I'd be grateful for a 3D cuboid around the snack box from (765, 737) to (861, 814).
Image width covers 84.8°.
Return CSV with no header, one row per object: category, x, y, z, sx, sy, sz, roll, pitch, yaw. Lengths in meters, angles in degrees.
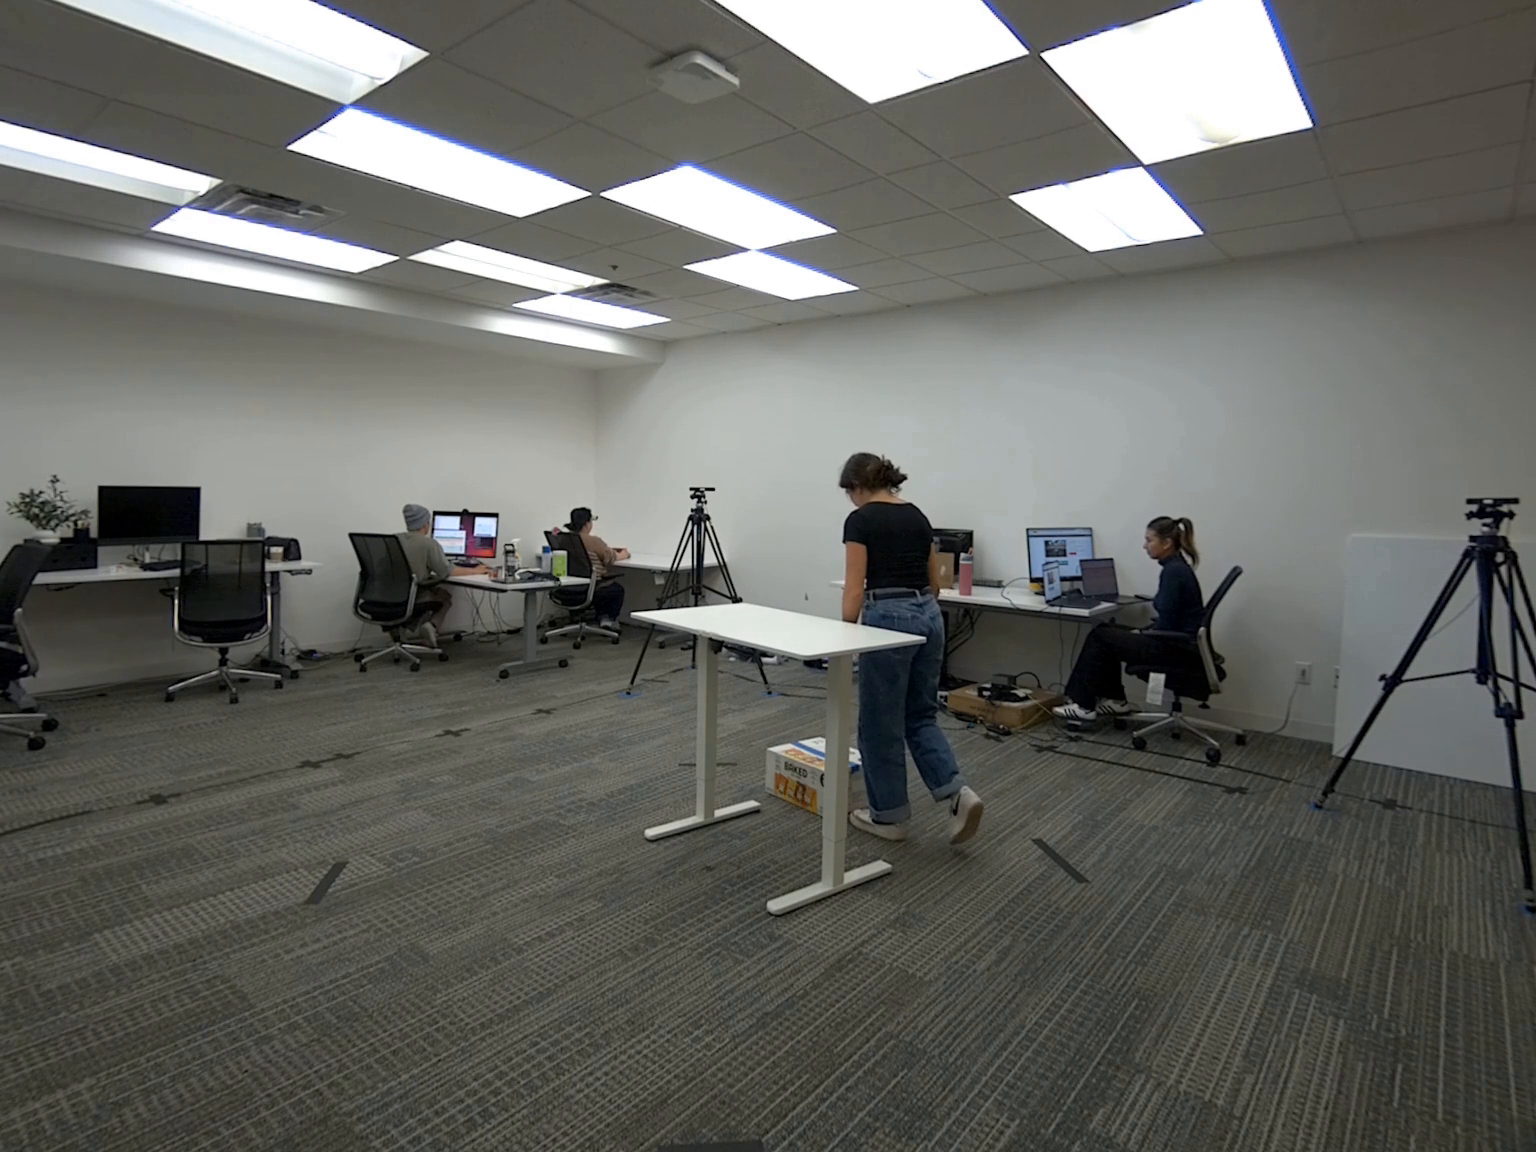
snack box,0.241,0.902,3.857,0.330,0.205,0.419,-3,6,-39
